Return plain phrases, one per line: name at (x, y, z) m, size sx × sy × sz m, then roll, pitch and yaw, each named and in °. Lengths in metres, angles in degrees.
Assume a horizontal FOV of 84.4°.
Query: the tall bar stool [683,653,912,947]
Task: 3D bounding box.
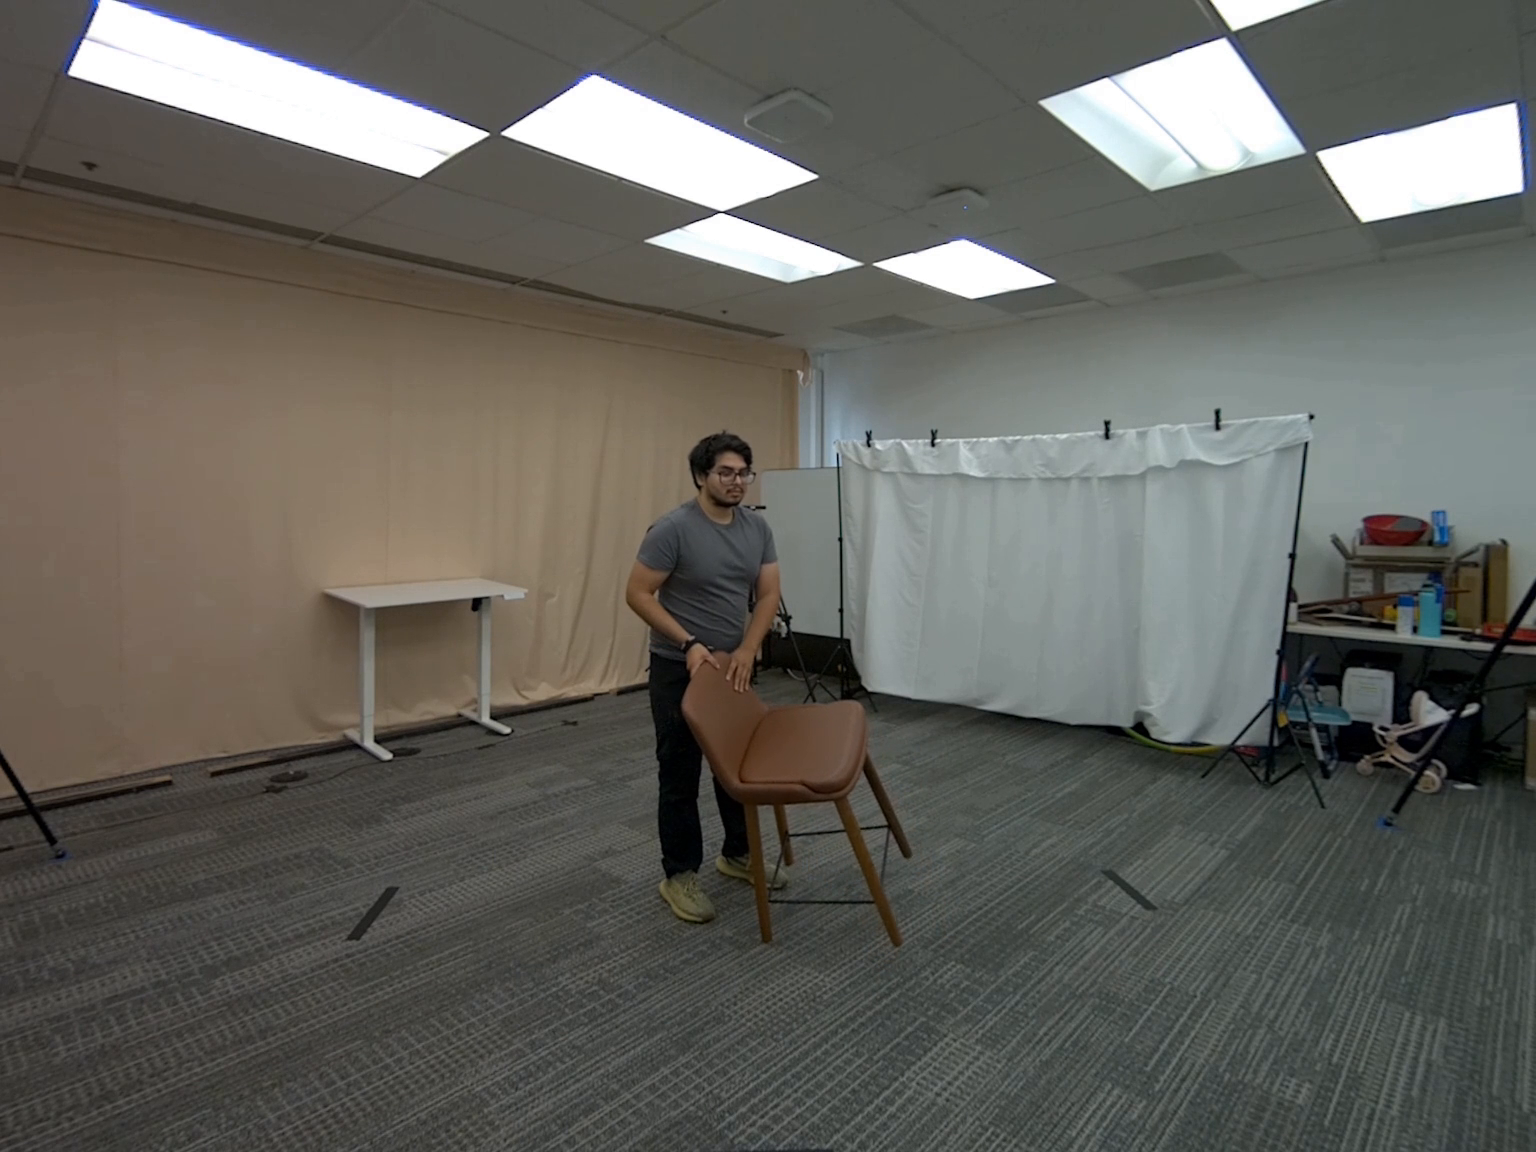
tall bar stool at (0.121, 0.676, 2.644) m, size 0.476 × 0.876 × 0.455 m, roll -12°, pitch 18°, yaw 21°
